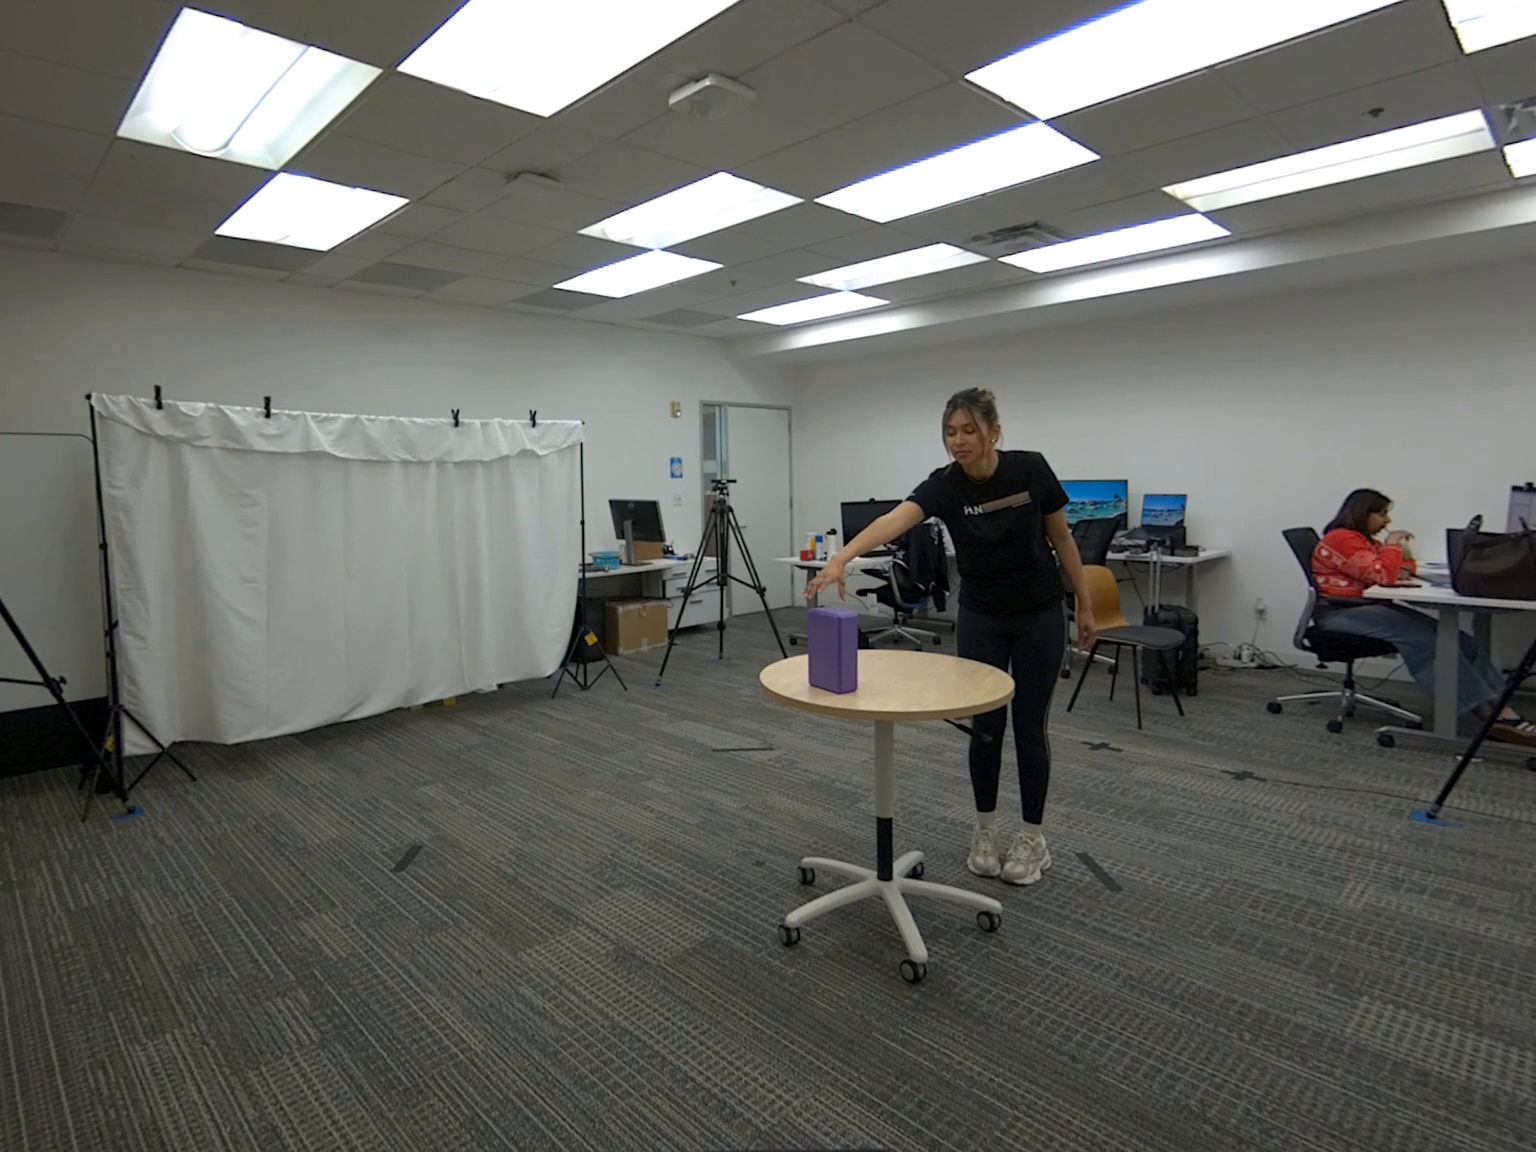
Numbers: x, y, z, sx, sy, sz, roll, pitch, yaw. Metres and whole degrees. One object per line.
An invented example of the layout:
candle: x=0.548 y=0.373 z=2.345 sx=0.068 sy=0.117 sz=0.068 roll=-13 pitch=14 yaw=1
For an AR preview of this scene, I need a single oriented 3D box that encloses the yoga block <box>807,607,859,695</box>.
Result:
yoga block: x=0.195 y=0.215 z=2.492 sx=0.074 sy=0.228 sz=0.153 roll=-4 pitch=6 yaw=-35
